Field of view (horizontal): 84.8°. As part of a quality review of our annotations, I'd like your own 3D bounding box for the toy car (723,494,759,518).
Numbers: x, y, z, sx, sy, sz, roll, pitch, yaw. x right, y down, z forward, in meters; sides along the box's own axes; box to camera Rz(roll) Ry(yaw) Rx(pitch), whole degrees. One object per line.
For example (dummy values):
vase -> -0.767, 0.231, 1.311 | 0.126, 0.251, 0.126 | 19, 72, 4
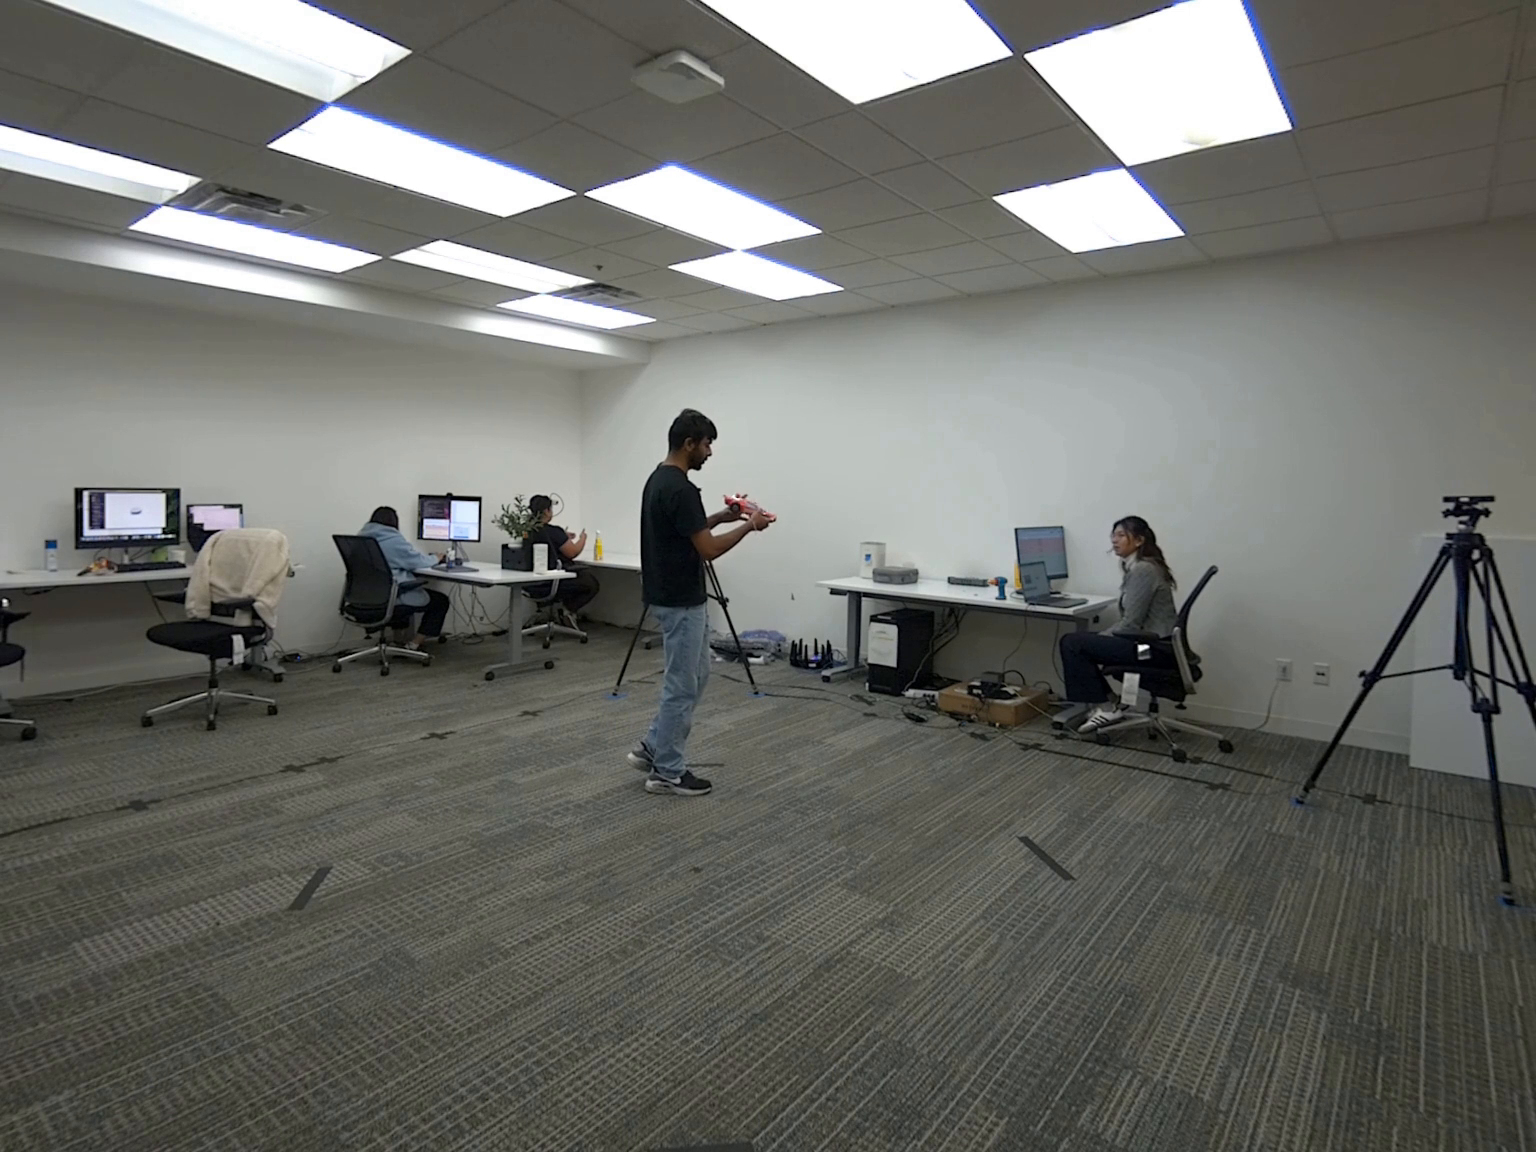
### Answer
toy car -> -0.110, -0.313, 3.942 | 0.255, 0.083, 0.130 | 33, 10, 0
